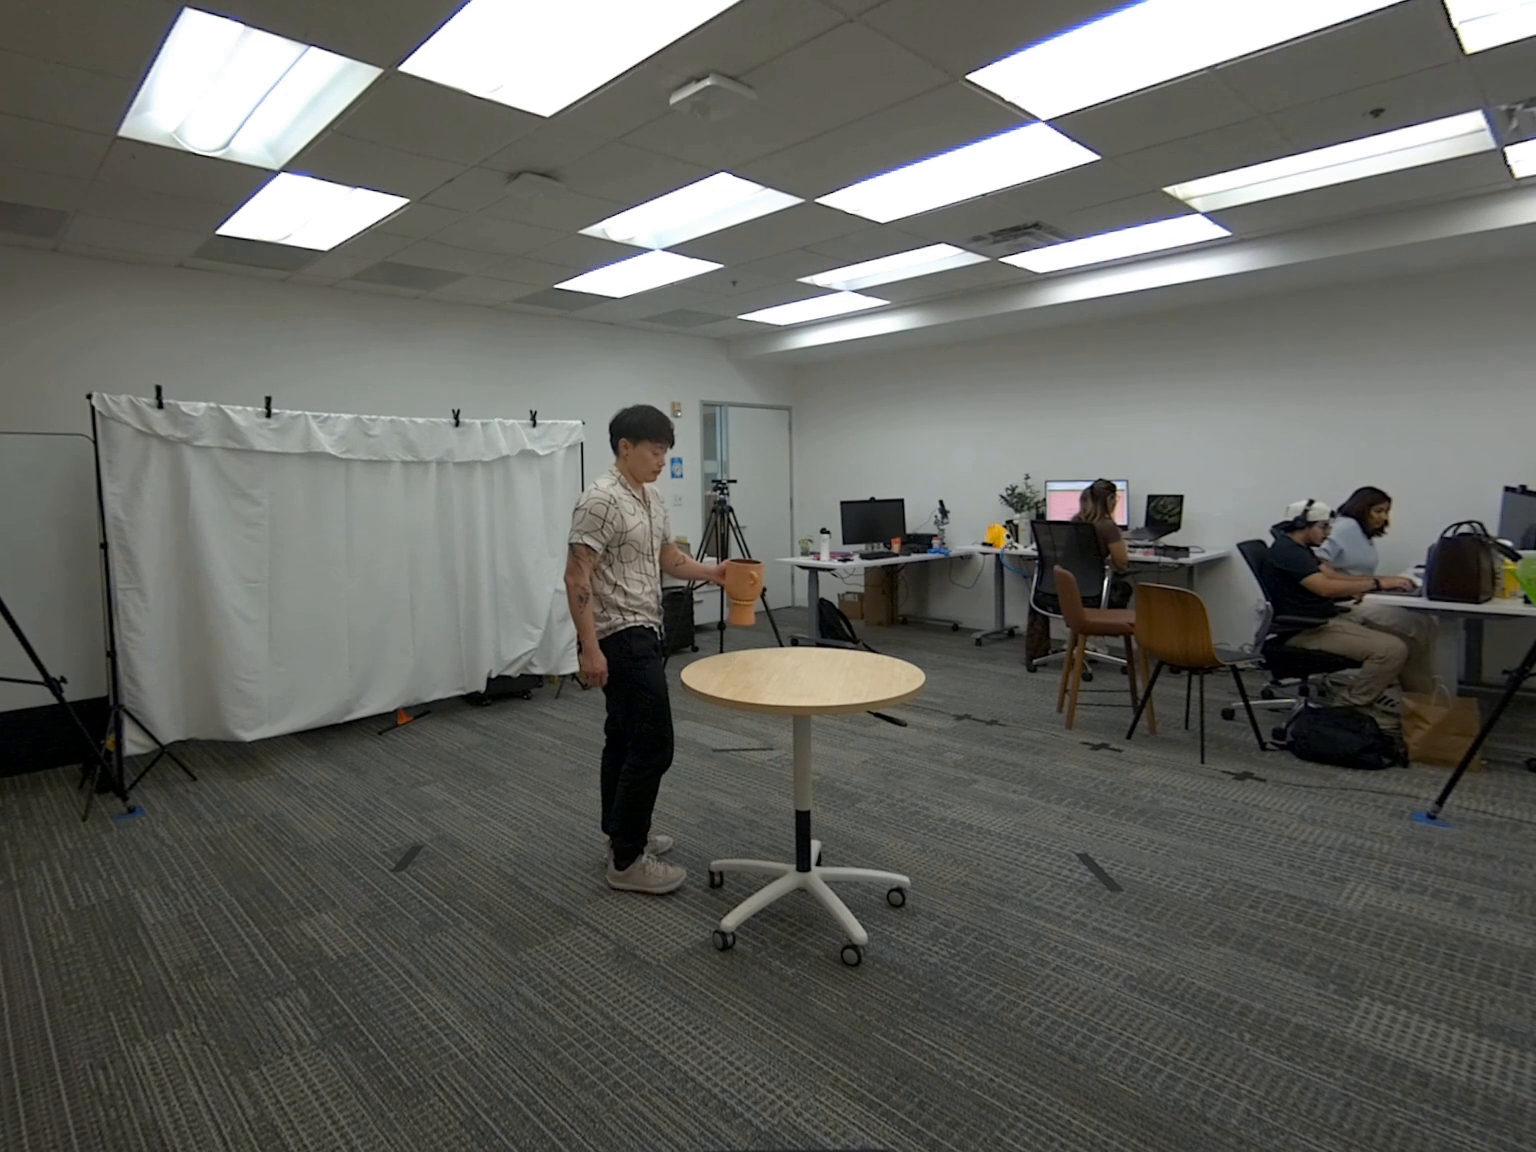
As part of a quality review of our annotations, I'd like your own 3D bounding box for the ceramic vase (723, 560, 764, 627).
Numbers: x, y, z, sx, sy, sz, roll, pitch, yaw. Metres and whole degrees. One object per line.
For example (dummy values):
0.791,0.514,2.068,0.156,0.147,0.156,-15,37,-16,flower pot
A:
-0.096,0.058,3.029,0.136,0.218,0.158,6,9,10,ceramic vase
